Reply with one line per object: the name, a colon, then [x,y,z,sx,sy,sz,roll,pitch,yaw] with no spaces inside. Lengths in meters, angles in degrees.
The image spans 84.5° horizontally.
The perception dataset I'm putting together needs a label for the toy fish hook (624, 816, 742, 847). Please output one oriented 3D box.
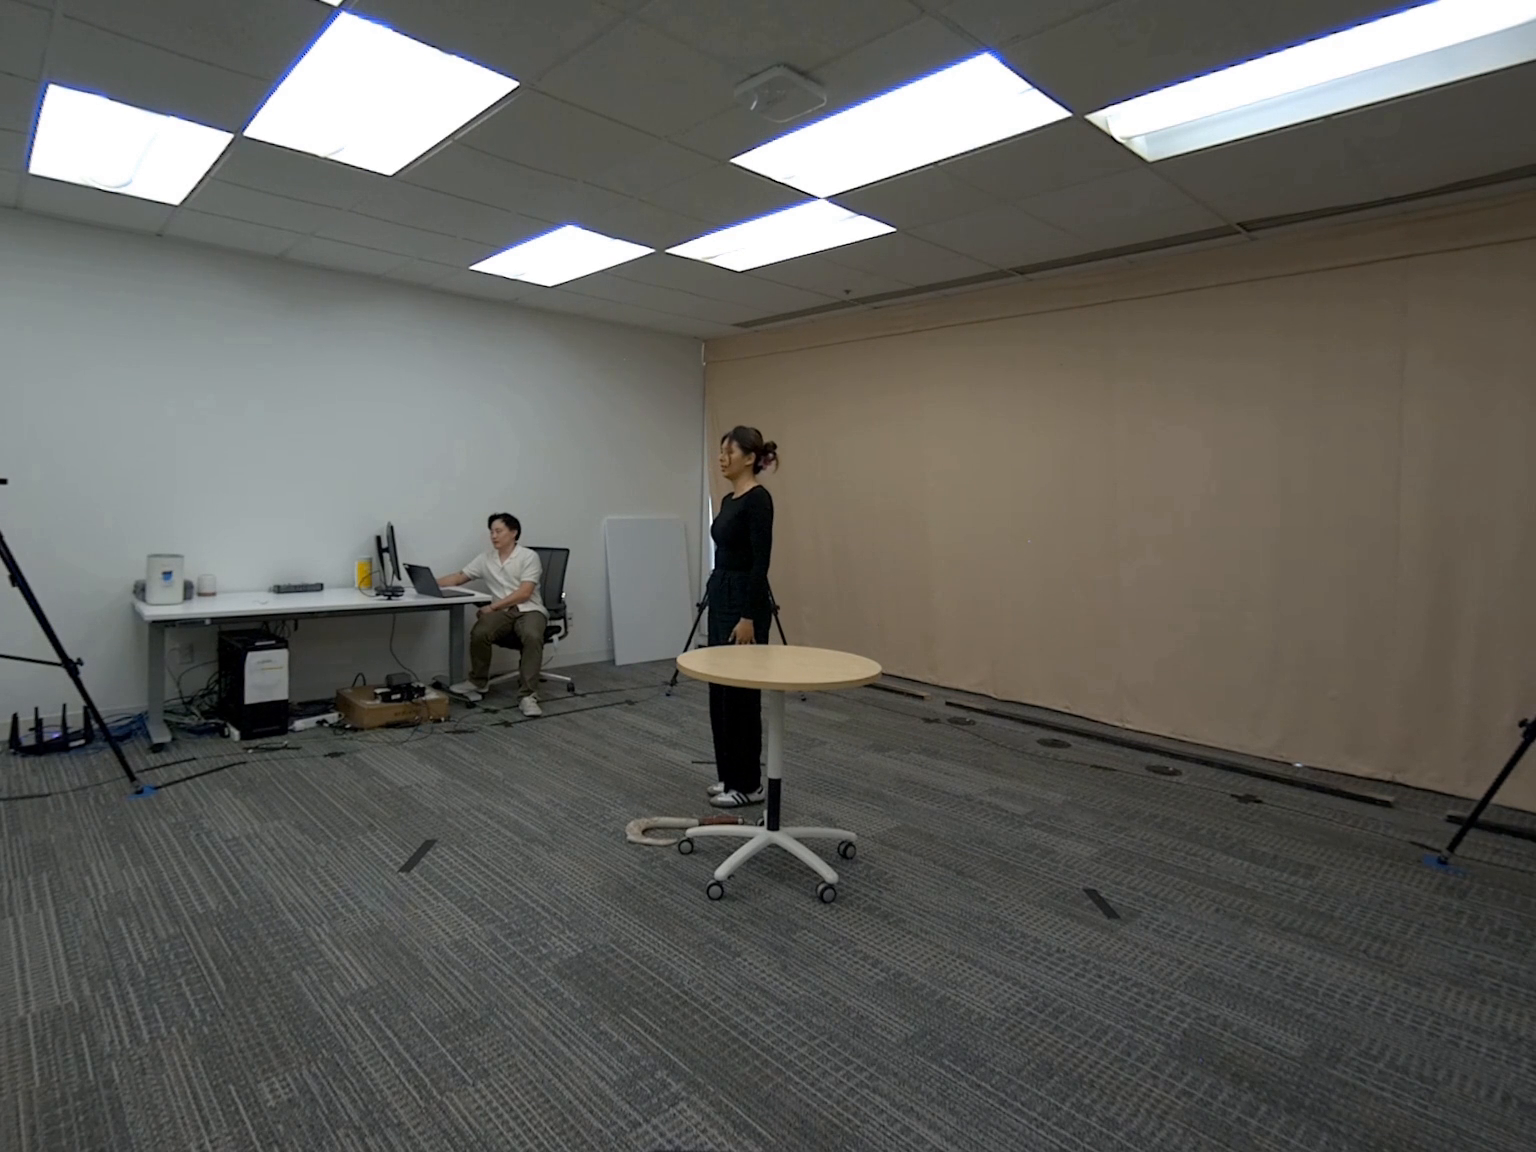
toy fish hook: [-0.341,1.052,3.488,0.501,0.048,0.229,-1,14,-13]
